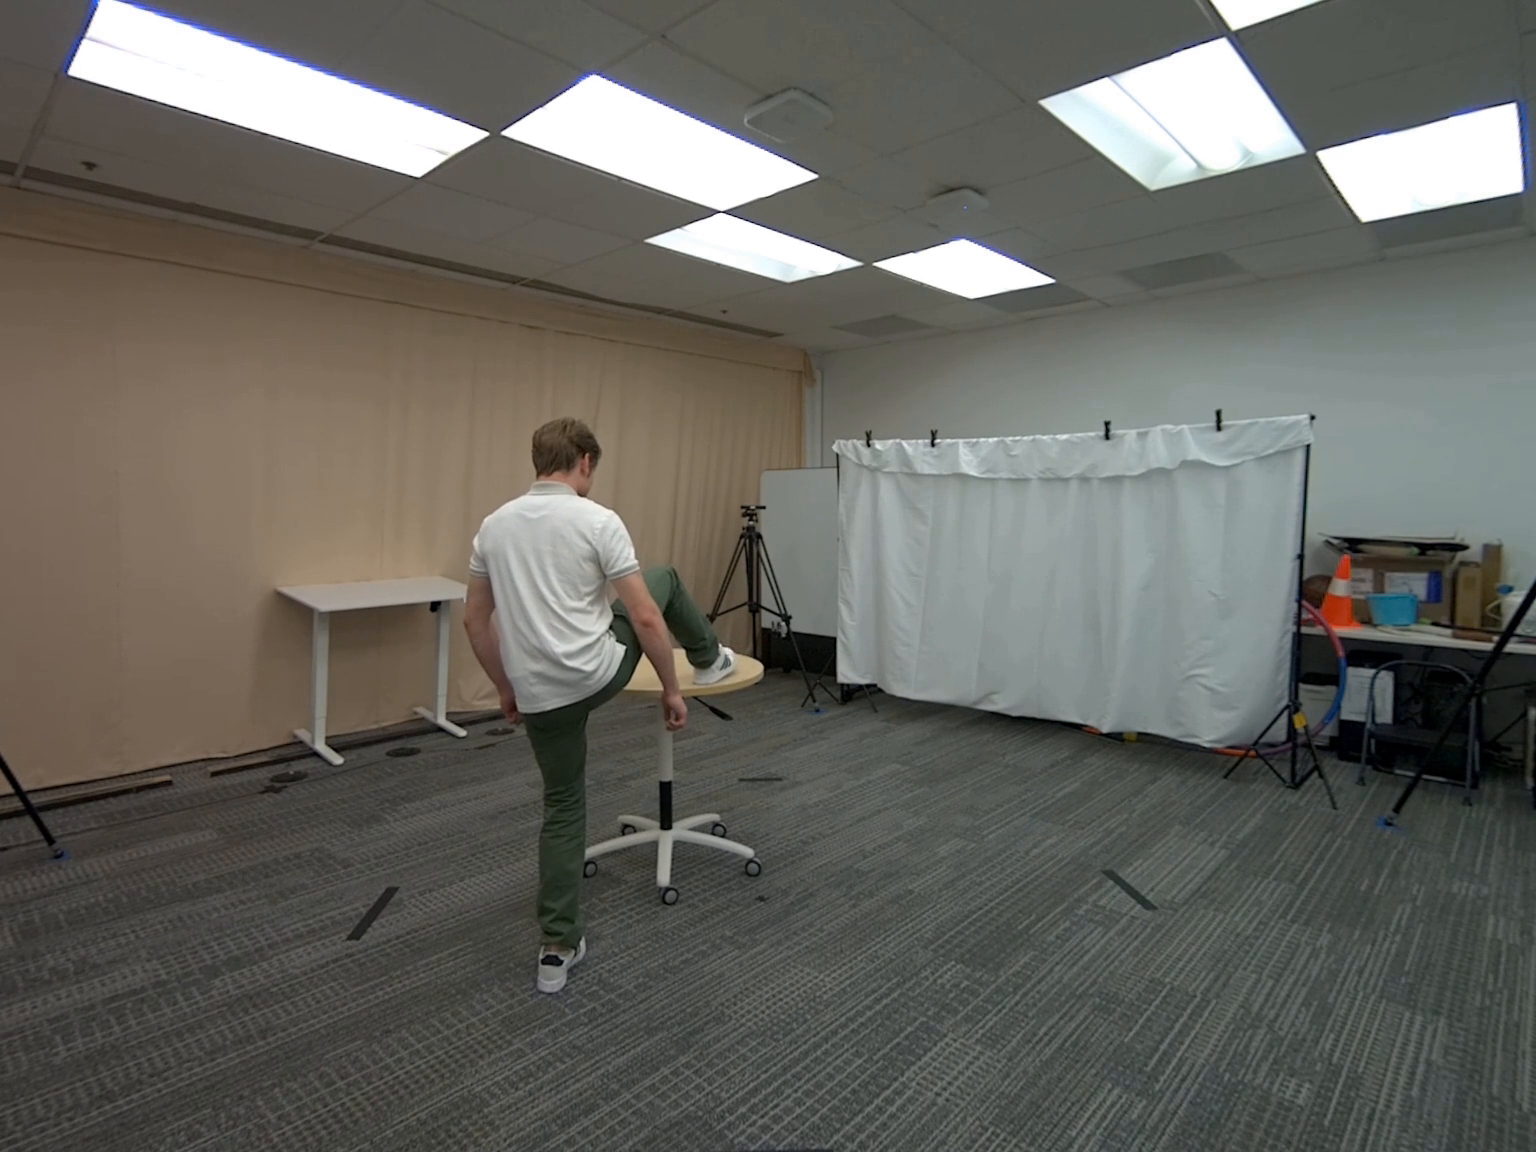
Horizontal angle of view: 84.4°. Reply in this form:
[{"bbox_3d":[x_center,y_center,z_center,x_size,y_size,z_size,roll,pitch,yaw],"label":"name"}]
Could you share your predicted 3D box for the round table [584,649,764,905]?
[{"bbox_3d":[-0.389,0.738,3.268,0.763,0.792,0.767,-1,4,-2],"label":"round table"}]
